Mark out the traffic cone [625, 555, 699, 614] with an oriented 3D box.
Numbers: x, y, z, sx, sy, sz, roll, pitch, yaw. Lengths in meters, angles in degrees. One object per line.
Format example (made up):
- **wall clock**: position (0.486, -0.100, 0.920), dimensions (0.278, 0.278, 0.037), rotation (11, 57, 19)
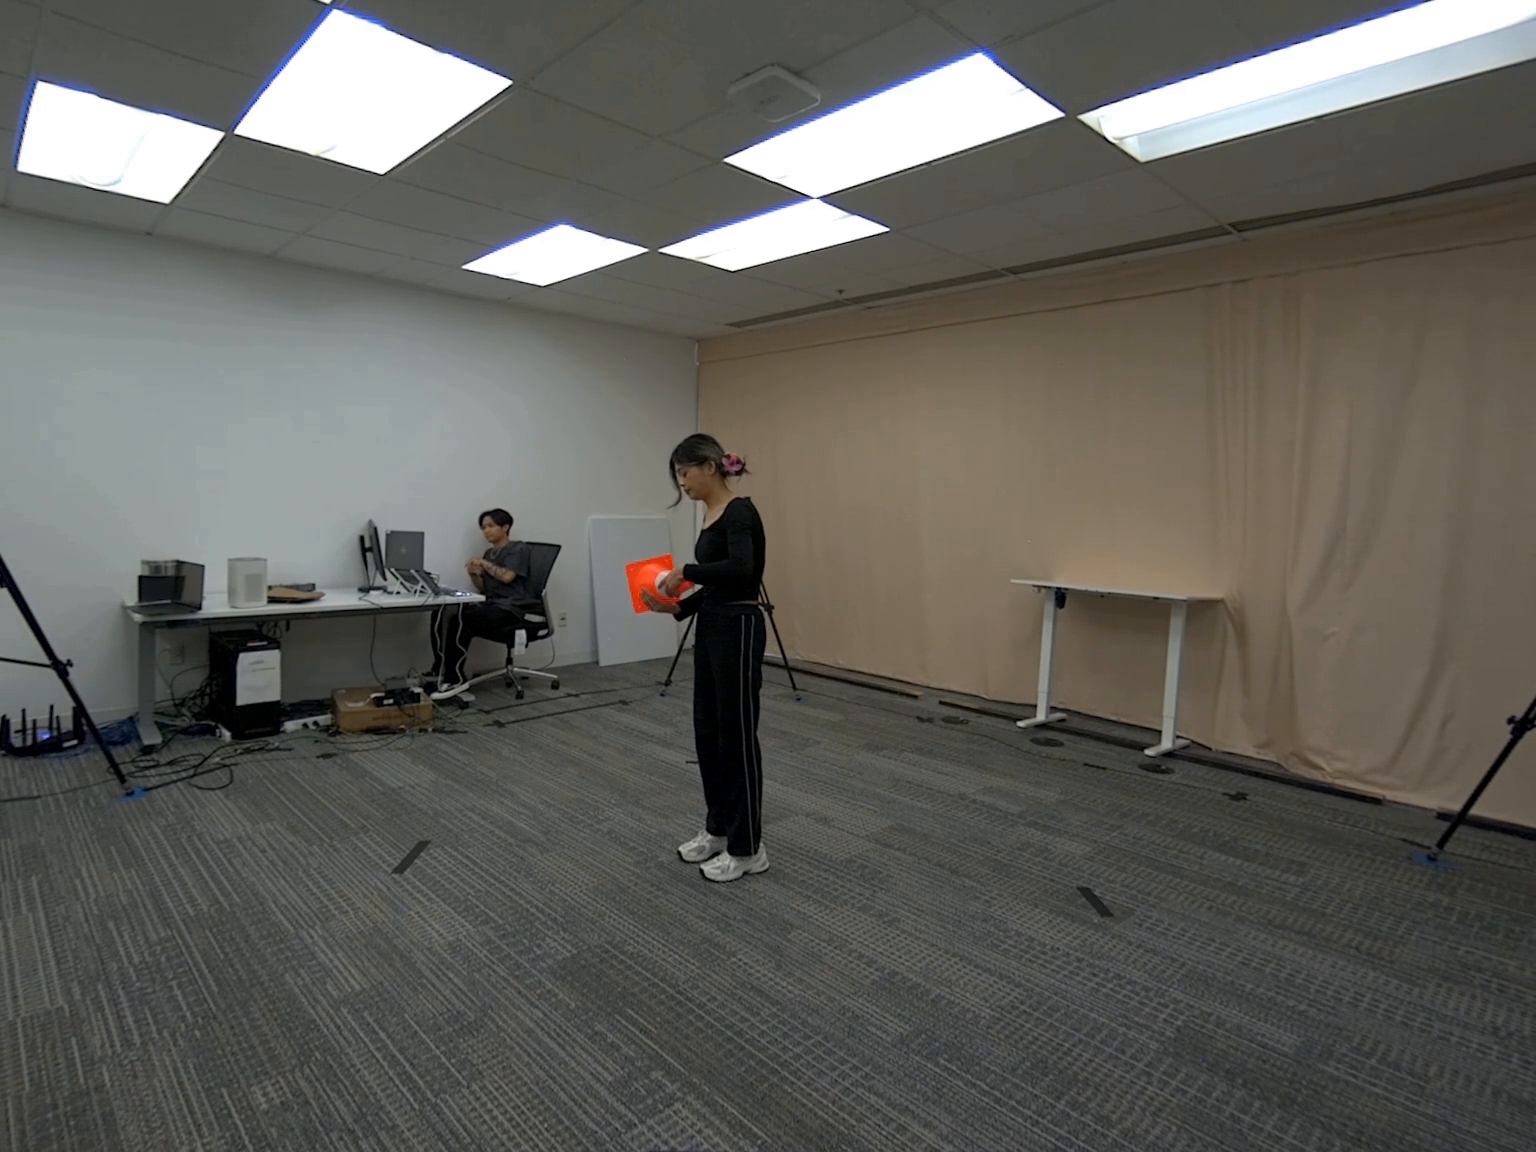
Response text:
- **traffic cone**: position (-0.368, 0.039, 3.107), dimensions (0.202, 0.203, 0.390), rotation (-13, 5, -26)
